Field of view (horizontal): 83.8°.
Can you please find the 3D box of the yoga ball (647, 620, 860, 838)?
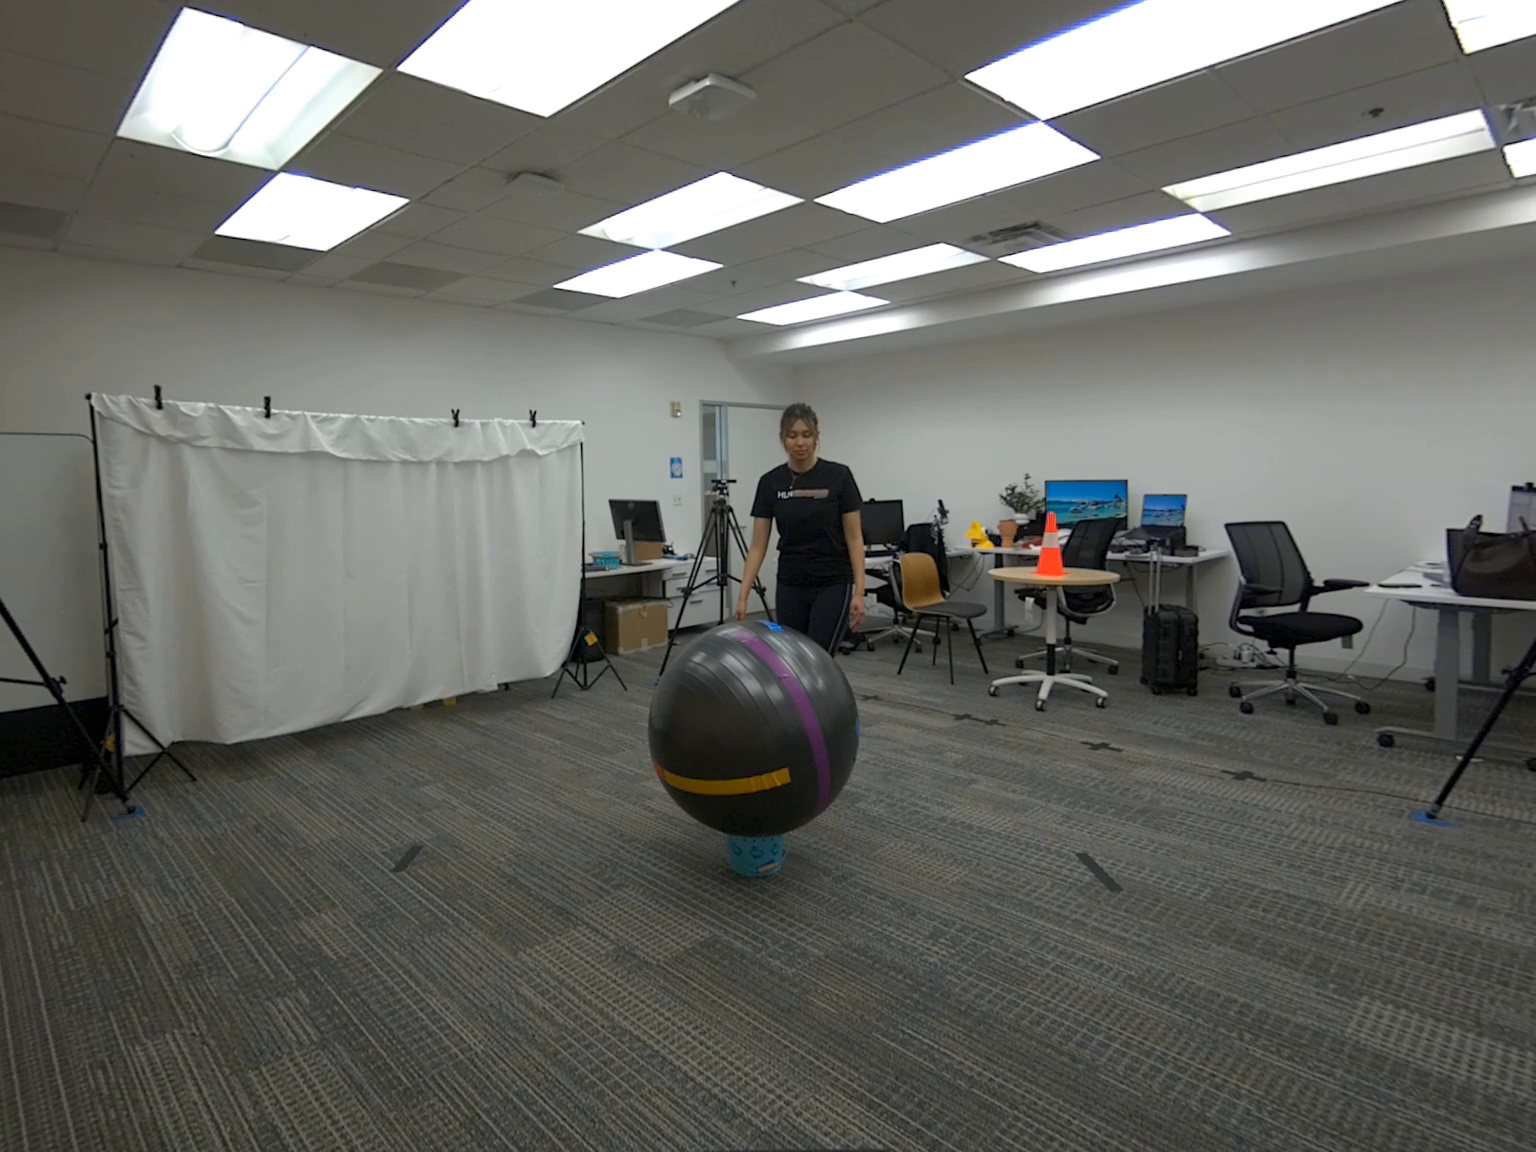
[{"bbox_3d":[-0.054,0.543,3.069,0.757,0.755,0.762,-1,5,-2],"label":"yoga ball"}]
